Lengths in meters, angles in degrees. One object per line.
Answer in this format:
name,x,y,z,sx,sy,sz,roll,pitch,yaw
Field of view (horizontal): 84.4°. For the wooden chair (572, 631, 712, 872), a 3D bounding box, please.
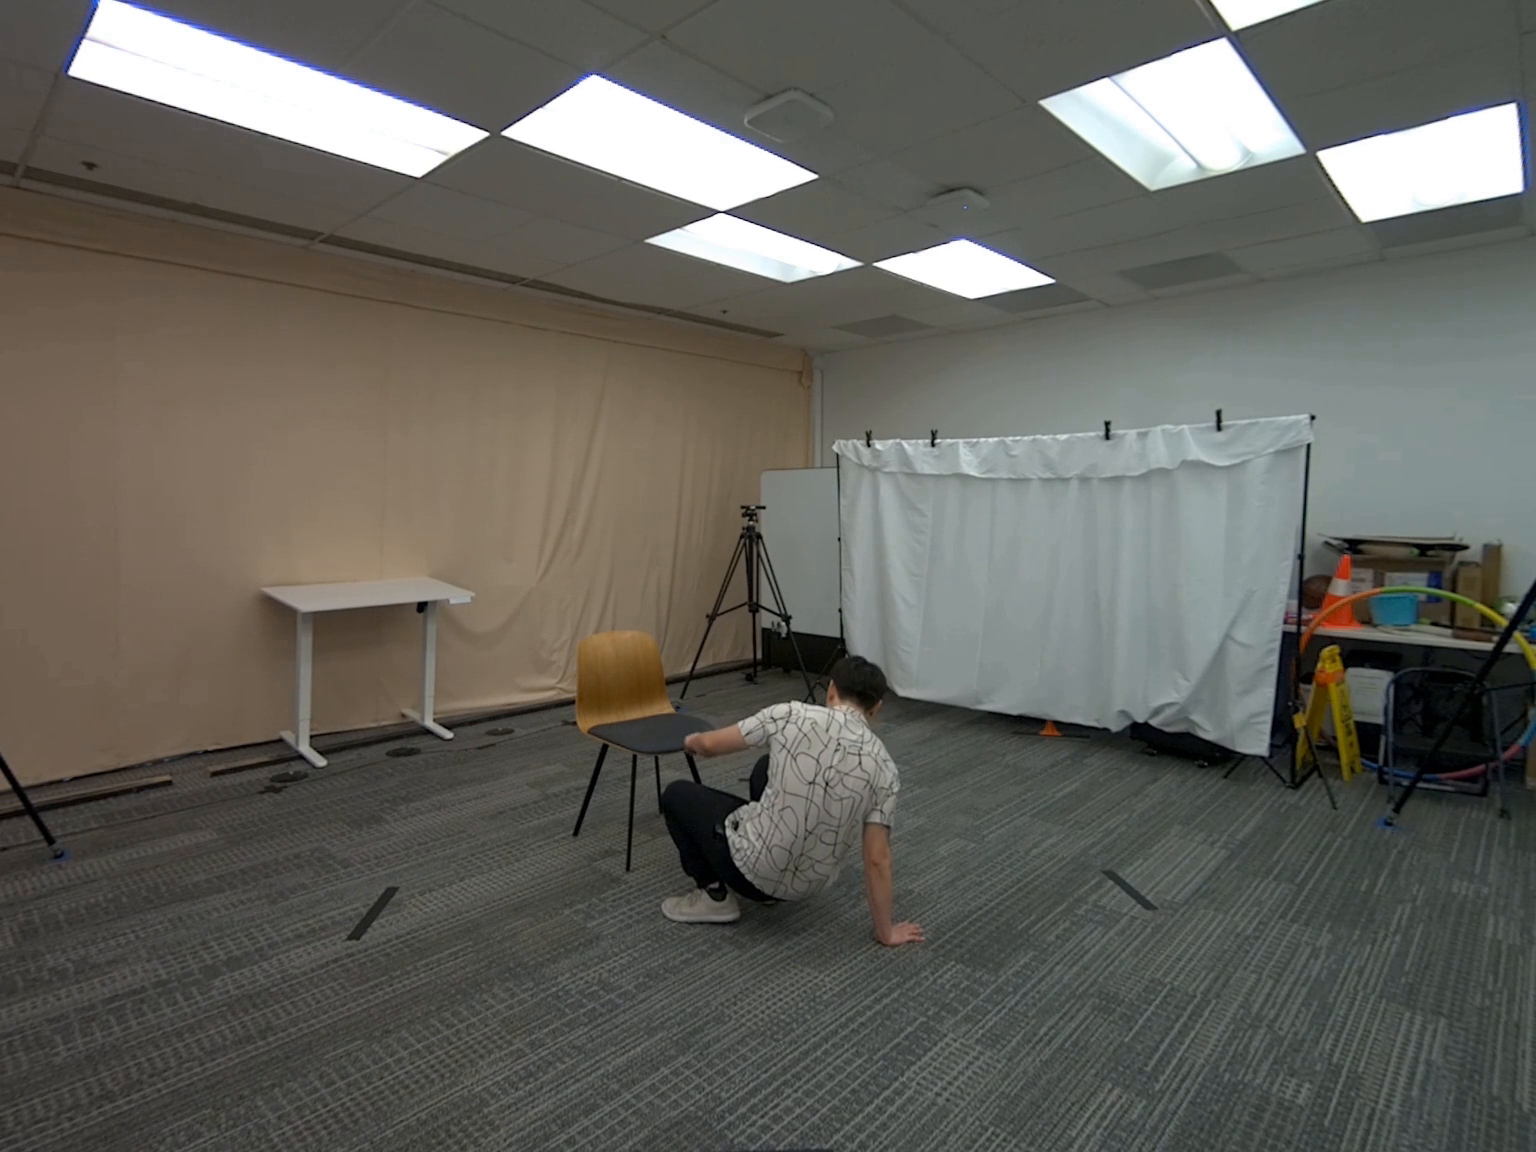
wooden chair,-0.508,0.678,3.493,0.464,0.878,0.539,-3,-1,-39
